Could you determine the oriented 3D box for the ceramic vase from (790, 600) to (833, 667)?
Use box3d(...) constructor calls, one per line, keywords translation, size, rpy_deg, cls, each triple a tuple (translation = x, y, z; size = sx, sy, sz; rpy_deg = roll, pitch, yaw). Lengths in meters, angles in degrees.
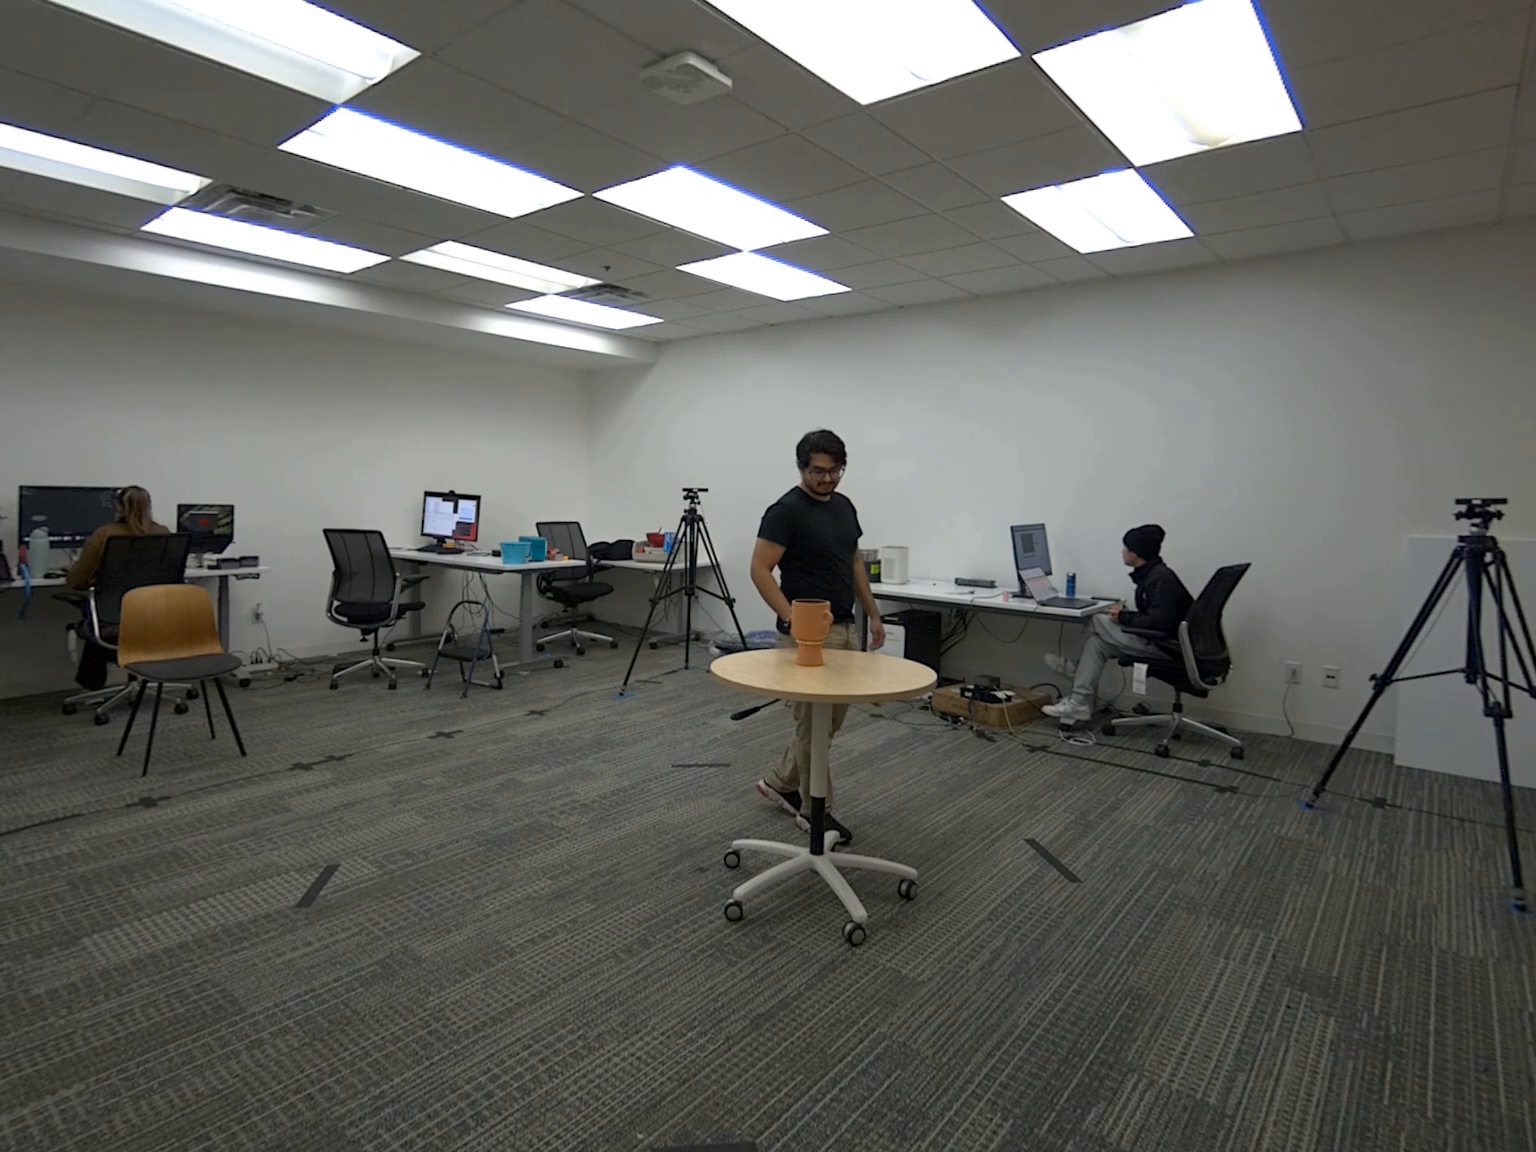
box3d(translation=(0.145, 0.201, 2.986), size=(0.134, 0.219, 0.160), rpy_deg=(3, 4, -4), cls="ceramic vase")
